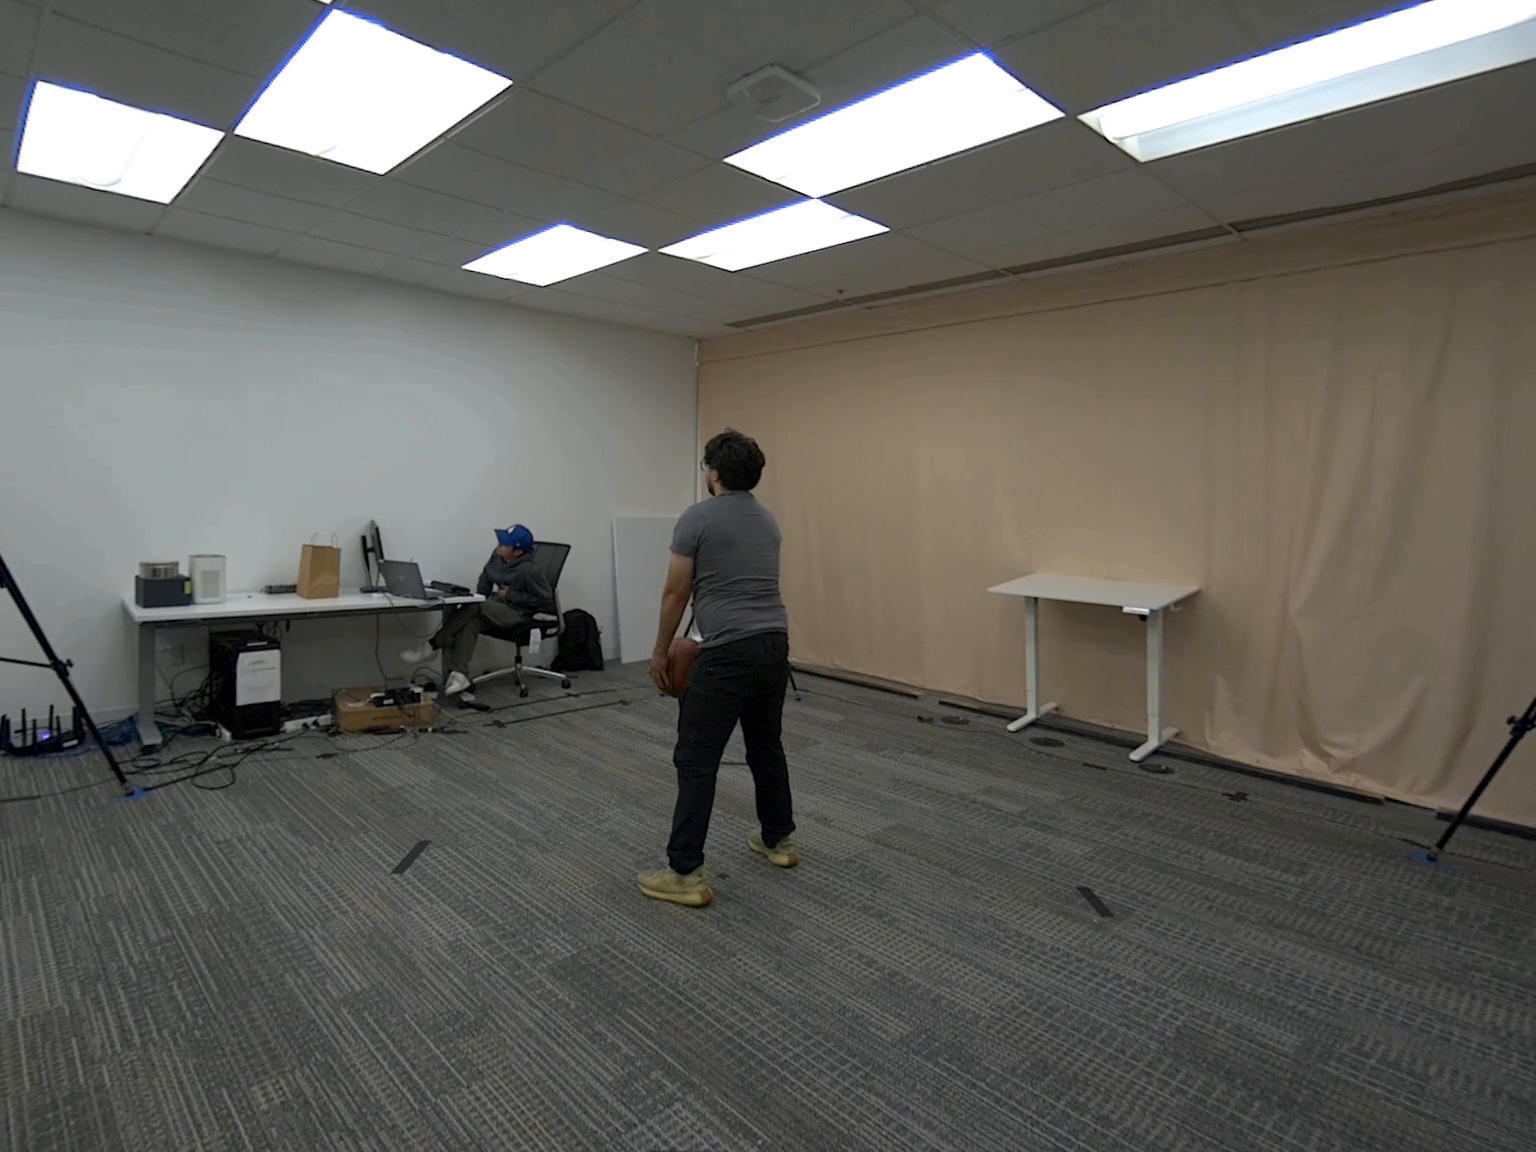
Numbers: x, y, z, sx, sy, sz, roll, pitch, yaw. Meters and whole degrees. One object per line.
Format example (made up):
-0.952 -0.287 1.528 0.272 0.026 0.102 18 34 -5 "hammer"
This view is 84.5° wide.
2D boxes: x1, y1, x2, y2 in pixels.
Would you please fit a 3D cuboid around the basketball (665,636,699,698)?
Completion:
-0.340 0.363 3.299 0.236 0.235 0.237 1 4 -1 "basketball"
